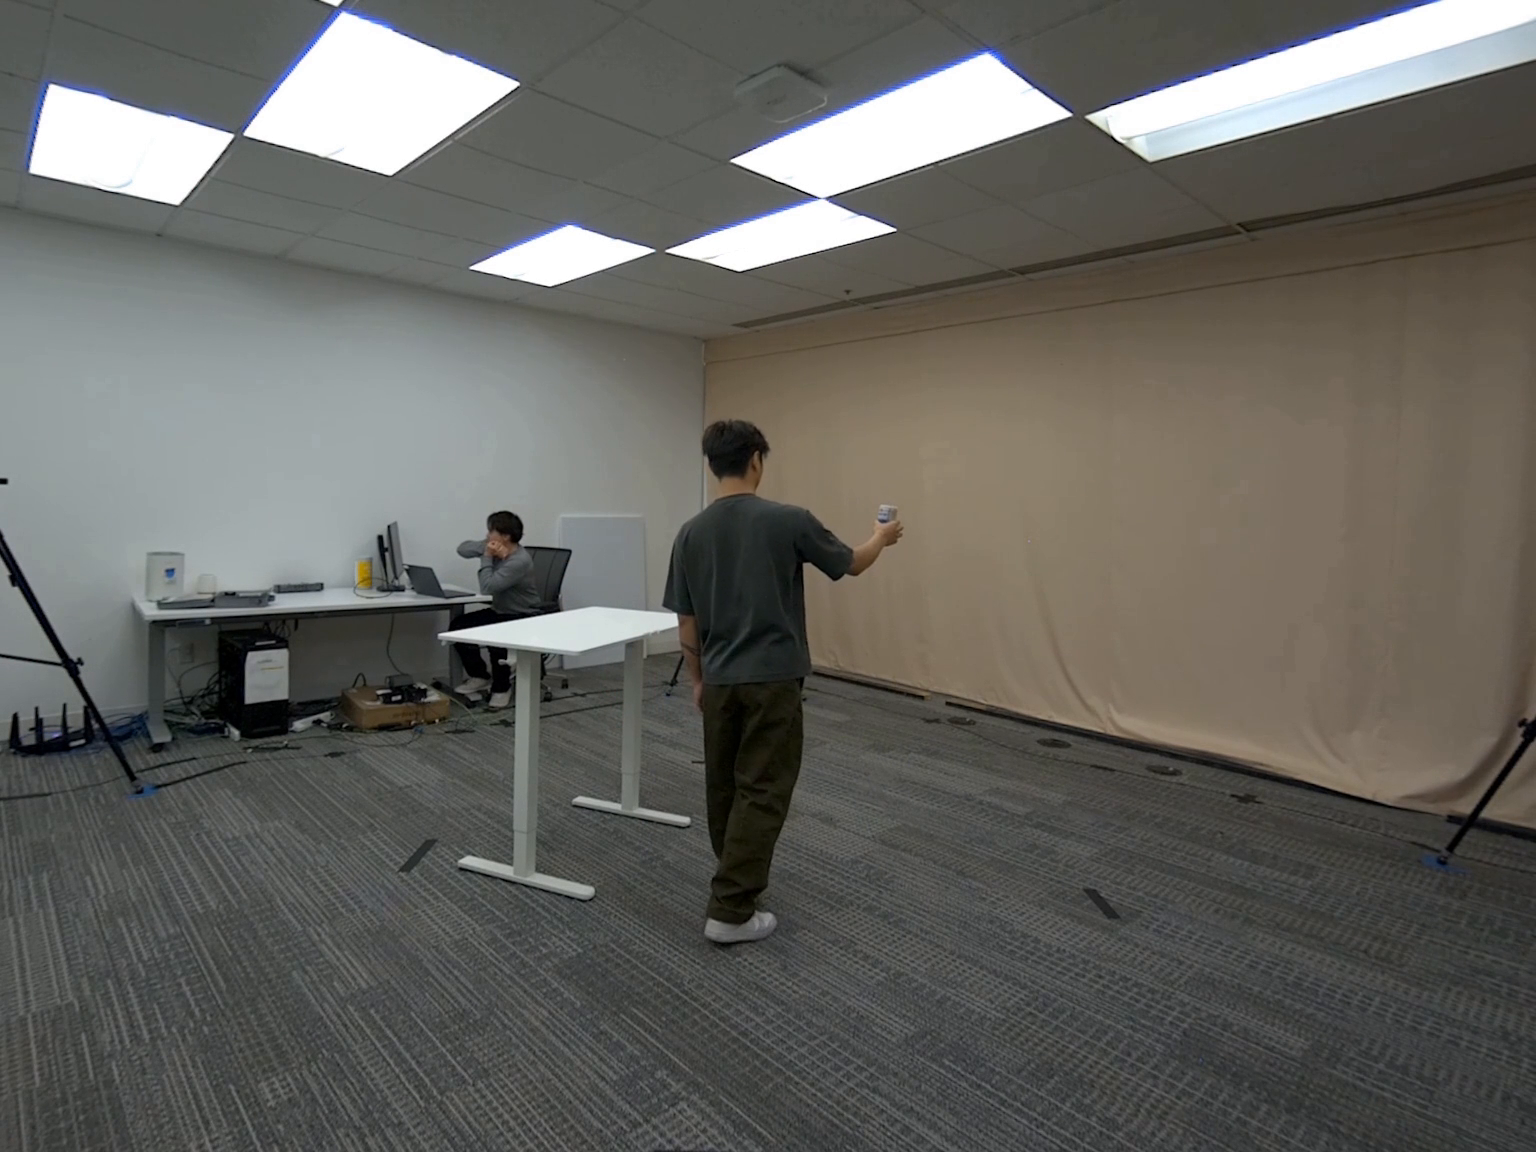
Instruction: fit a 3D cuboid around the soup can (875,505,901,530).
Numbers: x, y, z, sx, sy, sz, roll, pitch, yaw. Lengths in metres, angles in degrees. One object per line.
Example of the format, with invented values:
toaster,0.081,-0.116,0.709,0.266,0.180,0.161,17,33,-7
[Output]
soup can,0.437,-0.195,3.111,0.067,0.121,0.067,6,3,-2
